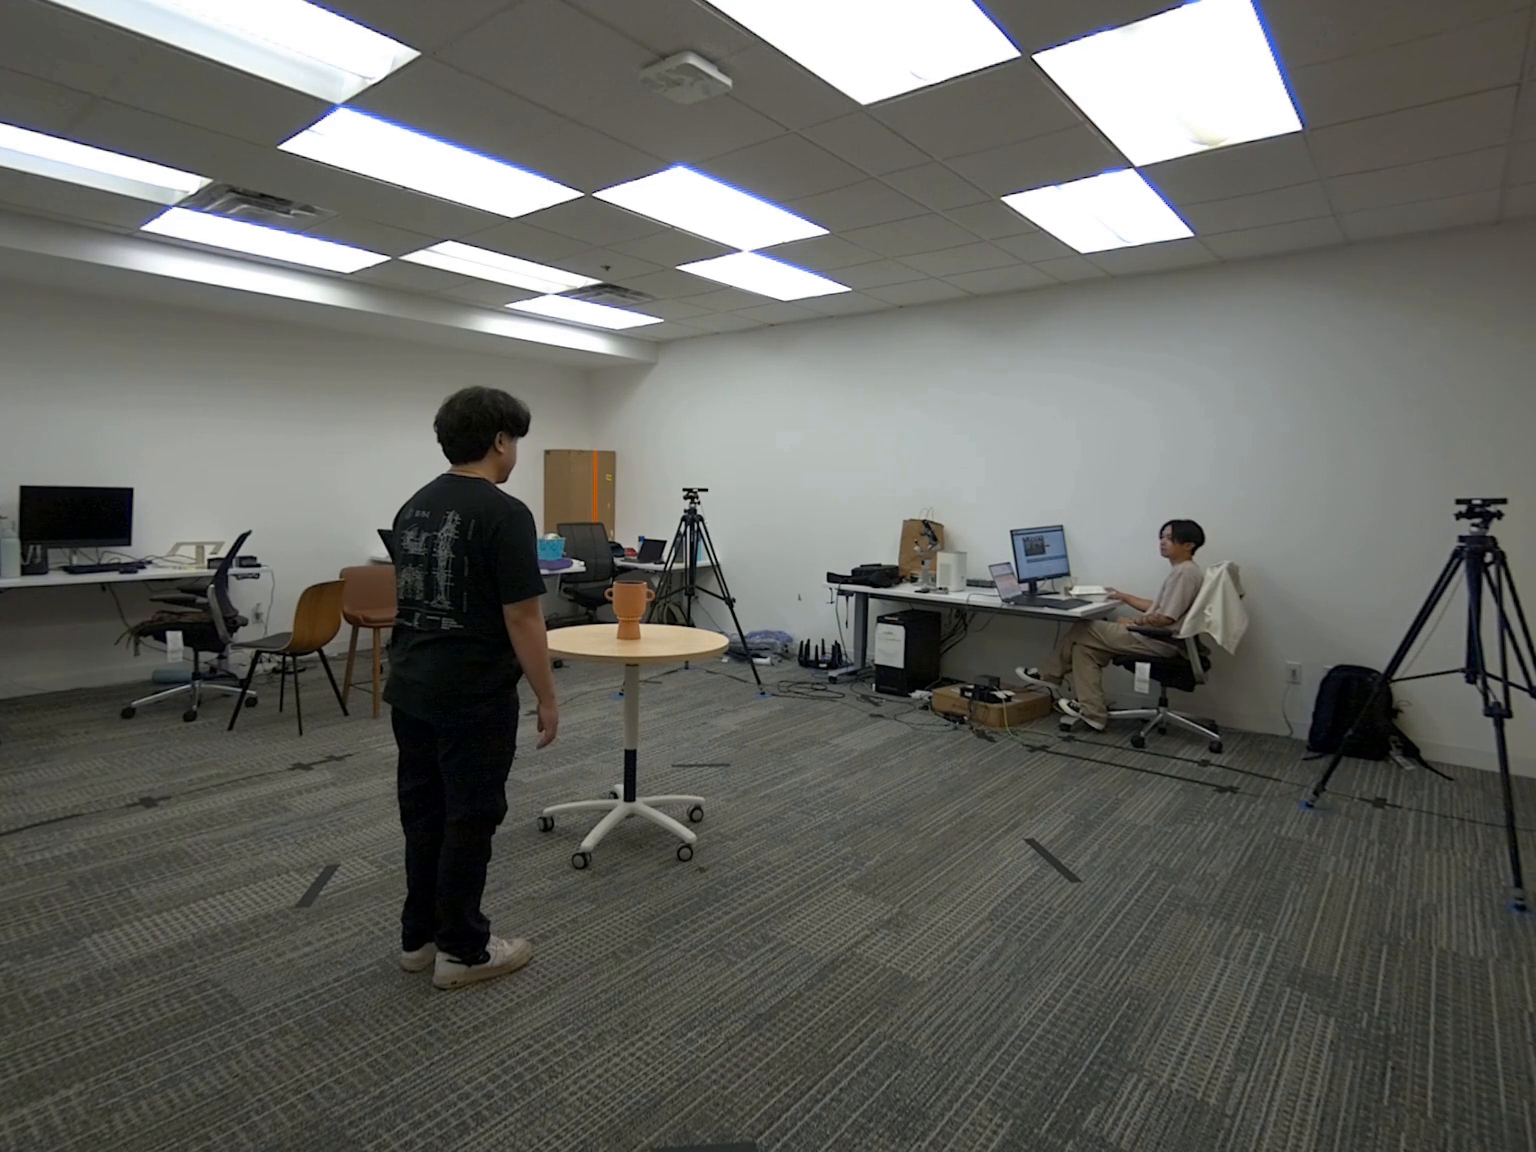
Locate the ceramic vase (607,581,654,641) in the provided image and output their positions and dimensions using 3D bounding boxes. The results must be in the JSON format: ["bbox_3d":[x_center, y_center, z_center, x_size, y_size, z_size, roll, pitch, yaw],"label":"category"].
[{"bbox_3d":[-0.565,0.134,3.384,0.164,0.219,0.131,5,5,38],"label":"ceramic vase"}]
